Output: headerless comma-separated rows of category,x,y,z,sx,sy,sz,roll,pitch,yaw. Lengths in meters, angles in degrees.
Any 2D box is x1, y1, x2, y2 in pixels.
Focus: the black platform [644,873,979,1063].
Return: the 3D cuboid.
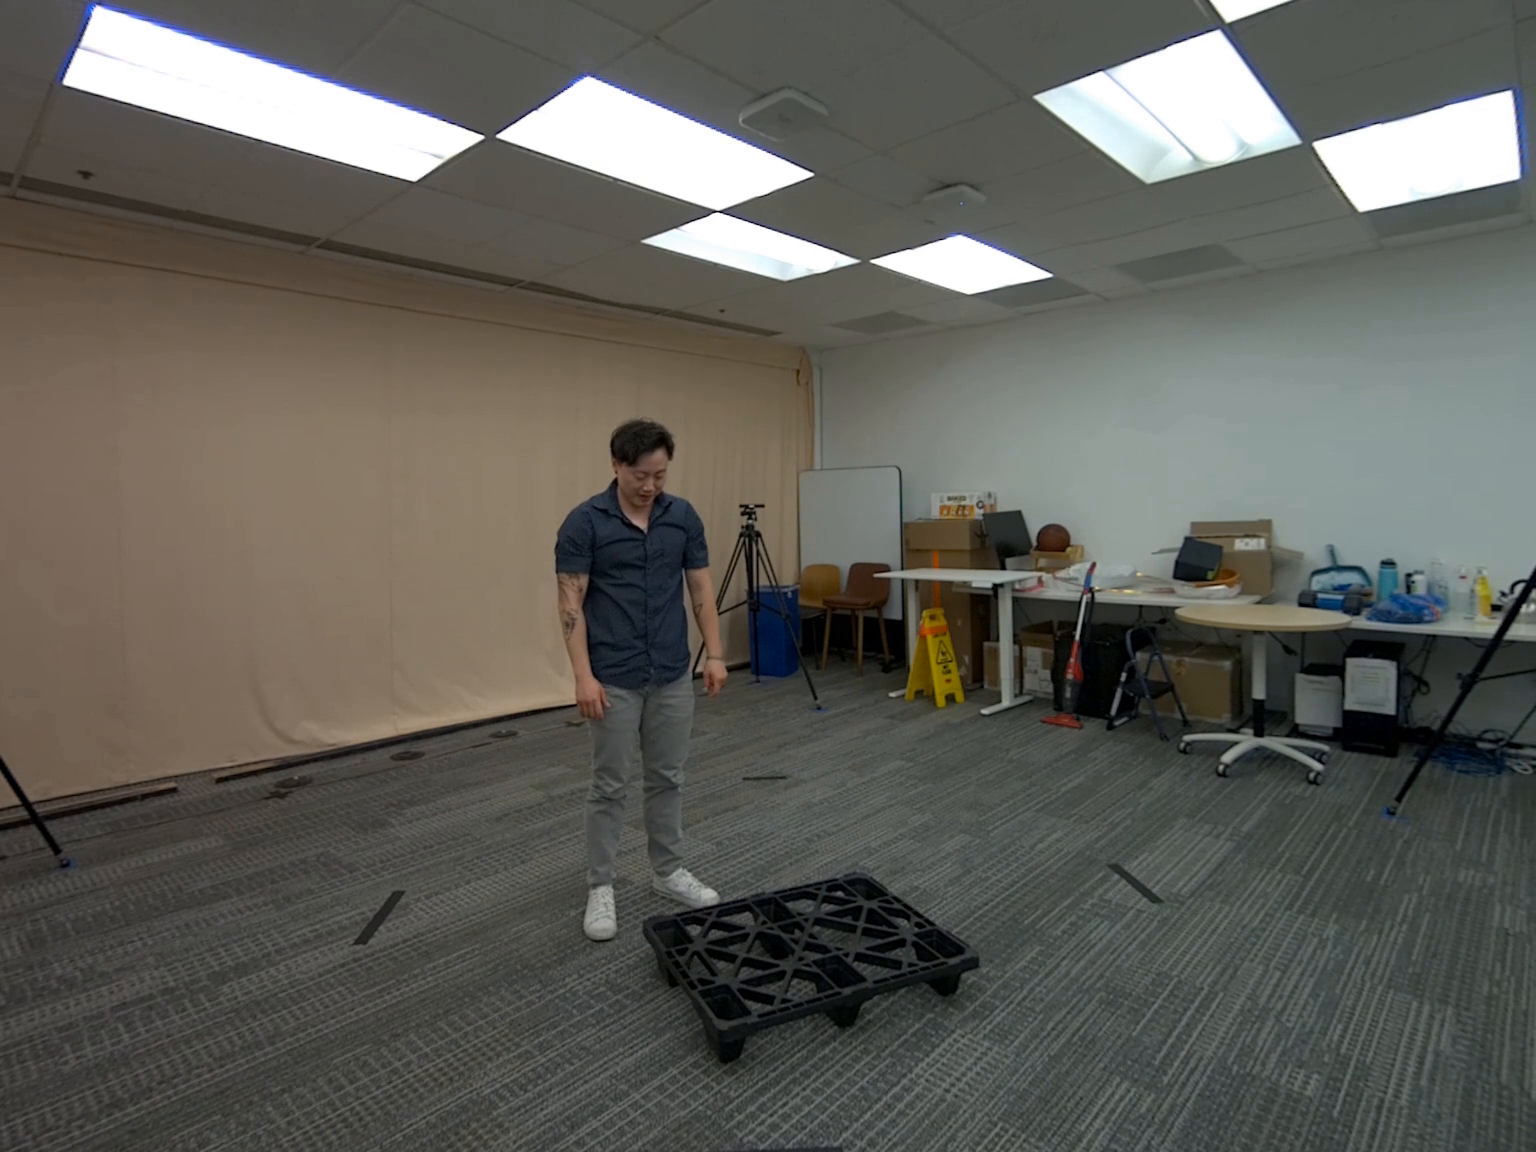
black platform,0.115,1.118,2.448,0.787,0.143,0.621,-3,6,-25
